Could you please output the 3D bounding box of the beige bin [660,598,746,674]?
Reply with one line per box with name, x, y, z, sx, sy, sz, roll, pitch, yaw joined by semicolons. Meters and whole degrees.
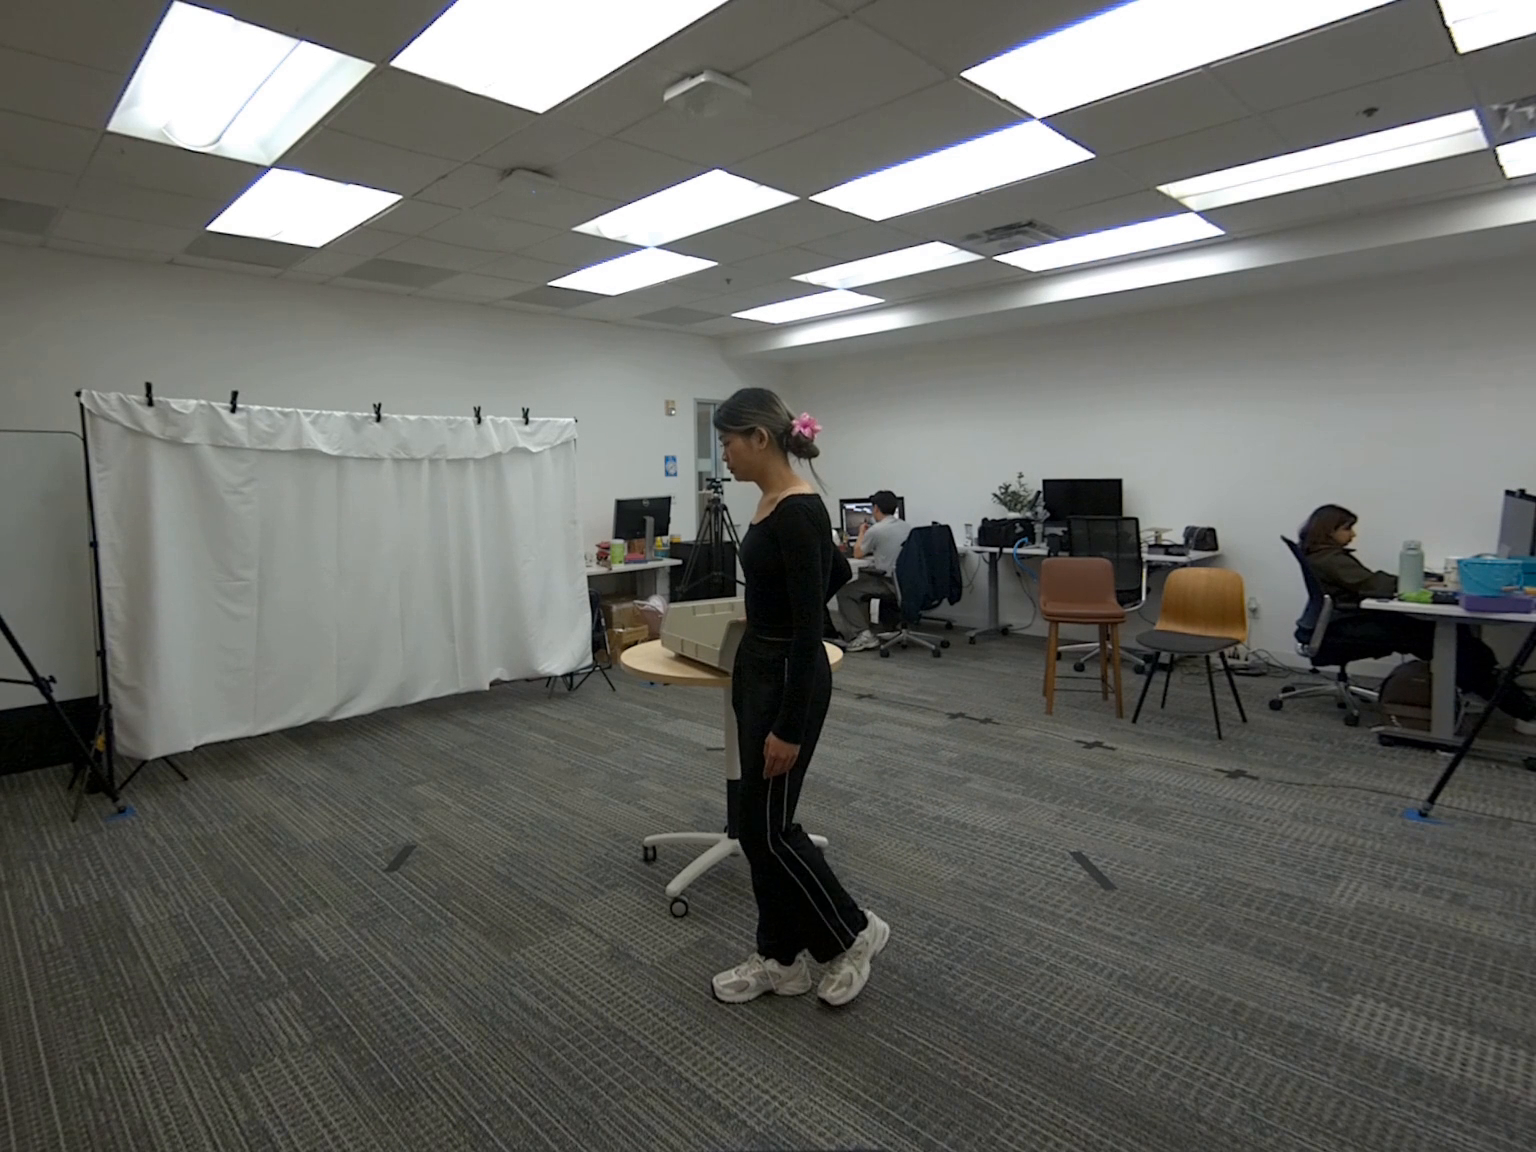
beige bin;-0.098;0.193;2.819;0.368;0.188;0.434;-4;5;-31
